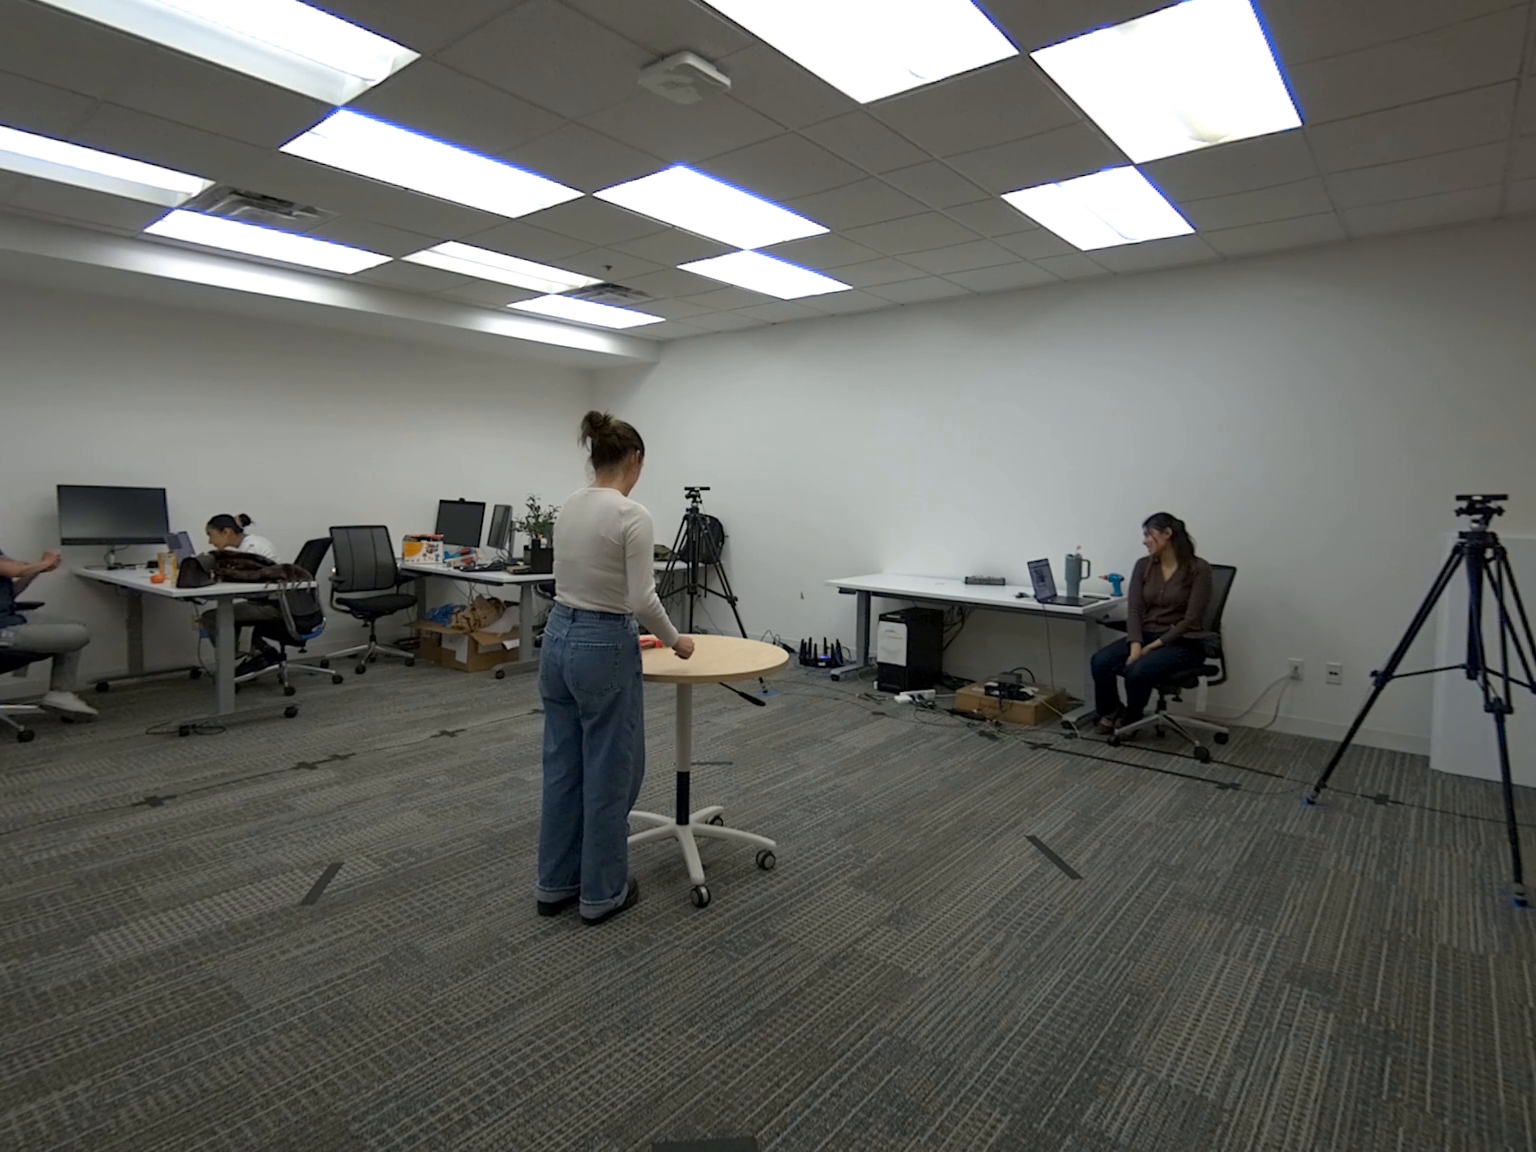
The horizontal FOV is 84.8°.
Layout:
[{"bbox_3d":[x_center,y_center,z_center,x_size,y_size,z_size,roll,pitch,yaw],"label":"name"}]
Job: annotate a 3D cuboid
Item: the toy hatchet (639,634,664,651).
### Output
[{"bbox_3d":[-0.516,0.260,3.169,0.262,0.029,0.136,-5,14,-38],"label":"toy hatchet"}]
